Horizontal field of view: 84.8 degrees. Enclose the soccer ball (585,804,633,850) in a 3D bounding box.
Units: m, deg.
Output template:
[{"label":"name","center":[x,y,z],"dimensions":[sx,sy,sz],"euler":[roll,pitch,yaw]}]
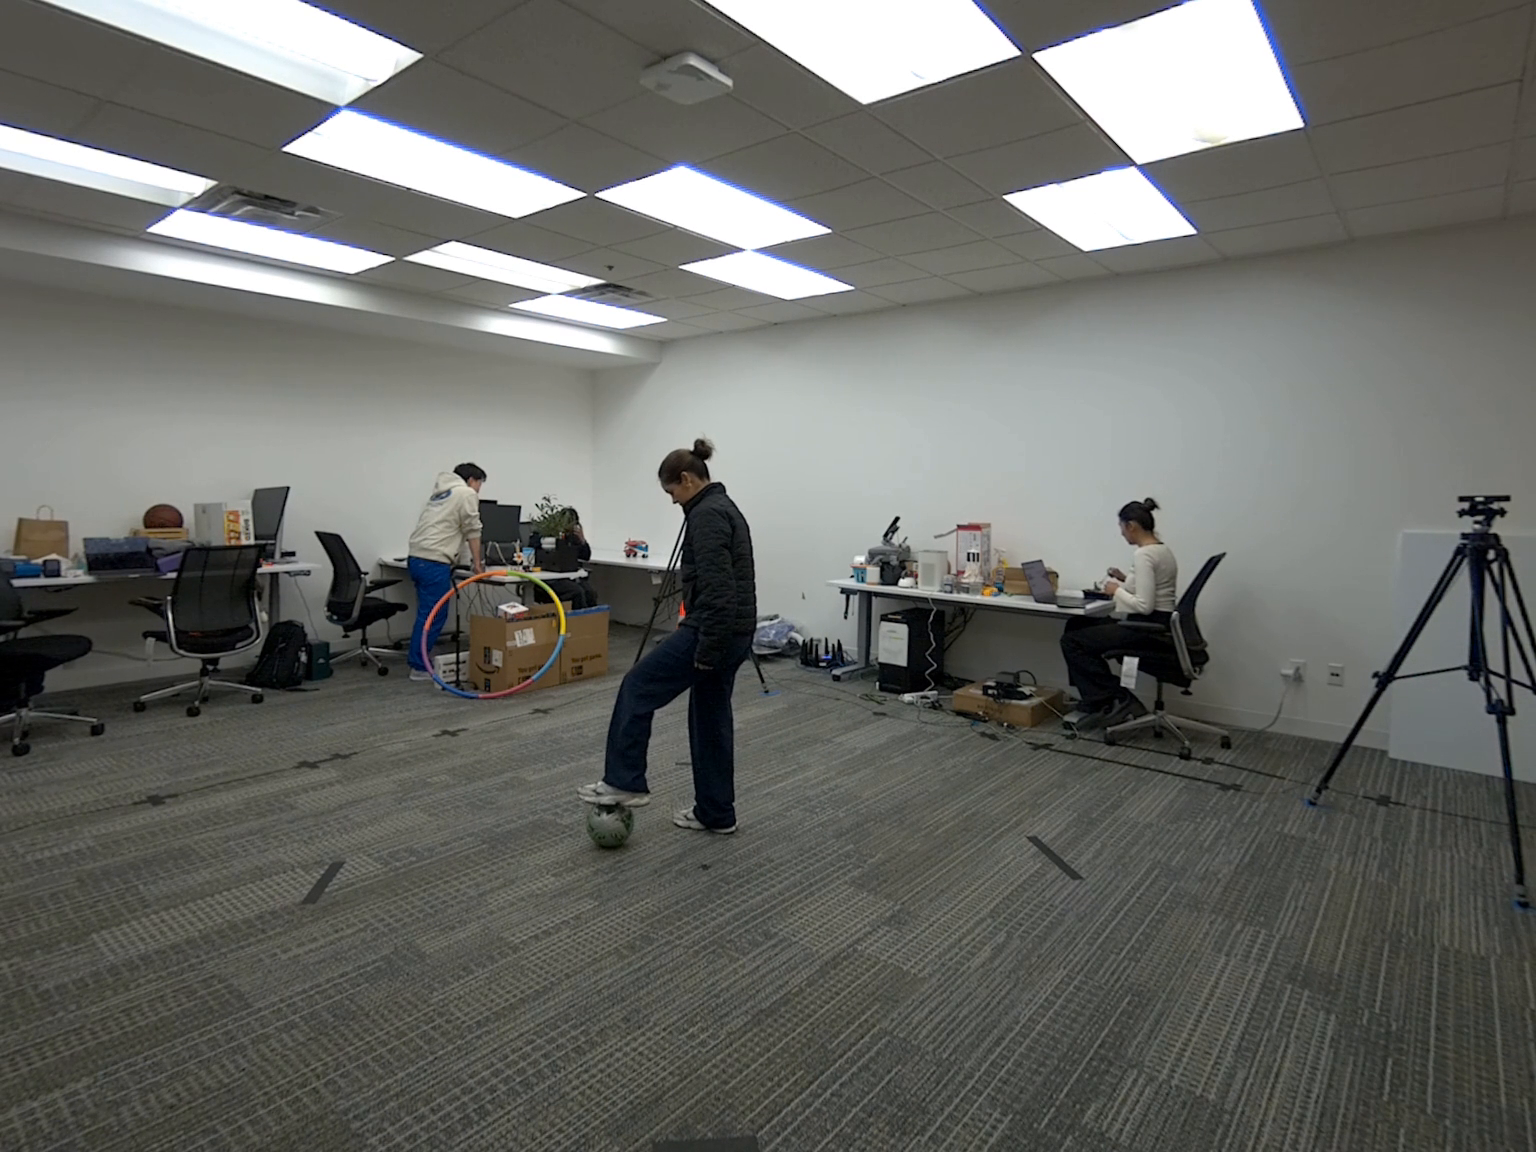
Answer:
[{"label":"soccer ball","center":[-0.620,0.950,3.295],"dimensions":[0.187,0.187,0.188],"euler":[1,4,-2]}]
